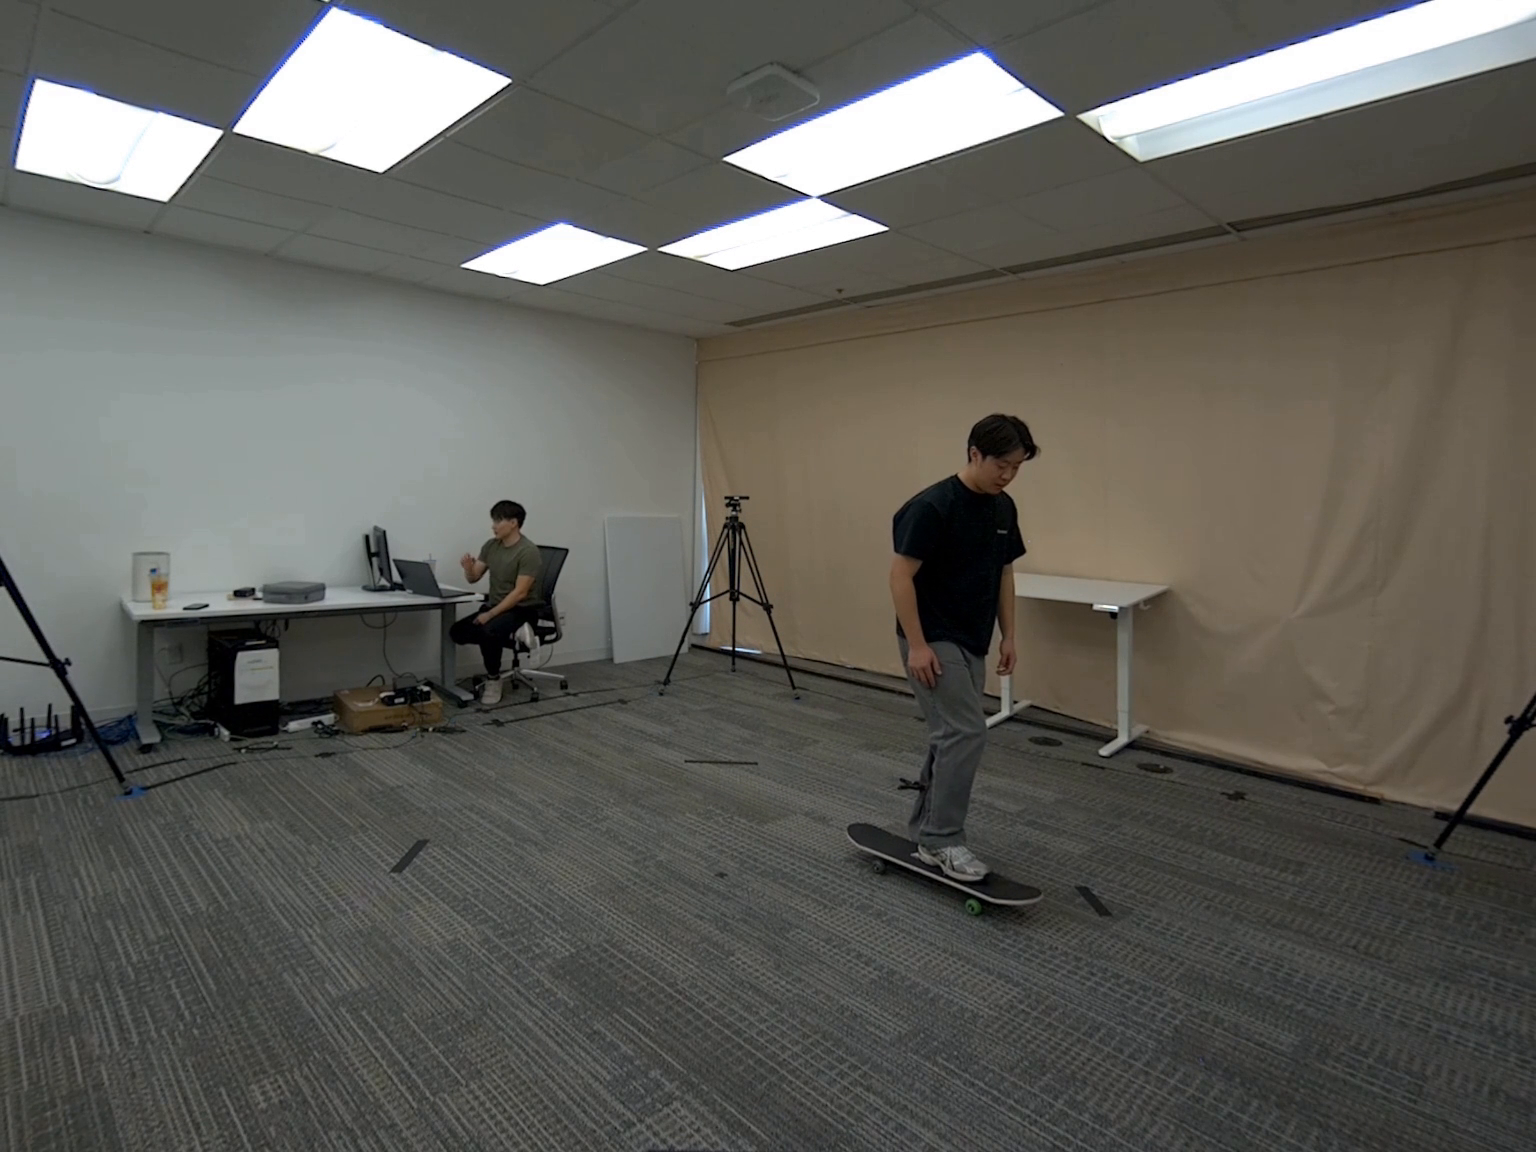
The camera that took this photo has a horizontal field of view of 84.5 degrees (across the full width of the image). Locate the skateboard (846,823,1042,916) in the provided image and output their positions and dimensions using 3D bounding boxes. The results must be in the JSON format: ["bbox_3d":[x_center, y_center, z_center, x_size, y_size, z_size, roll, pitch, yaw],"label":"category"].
[{"bbox_3d":[0.591,1.078,3.054,0.189,0.110,0.806,-3,7,-44],"label":"skateboard"}]
